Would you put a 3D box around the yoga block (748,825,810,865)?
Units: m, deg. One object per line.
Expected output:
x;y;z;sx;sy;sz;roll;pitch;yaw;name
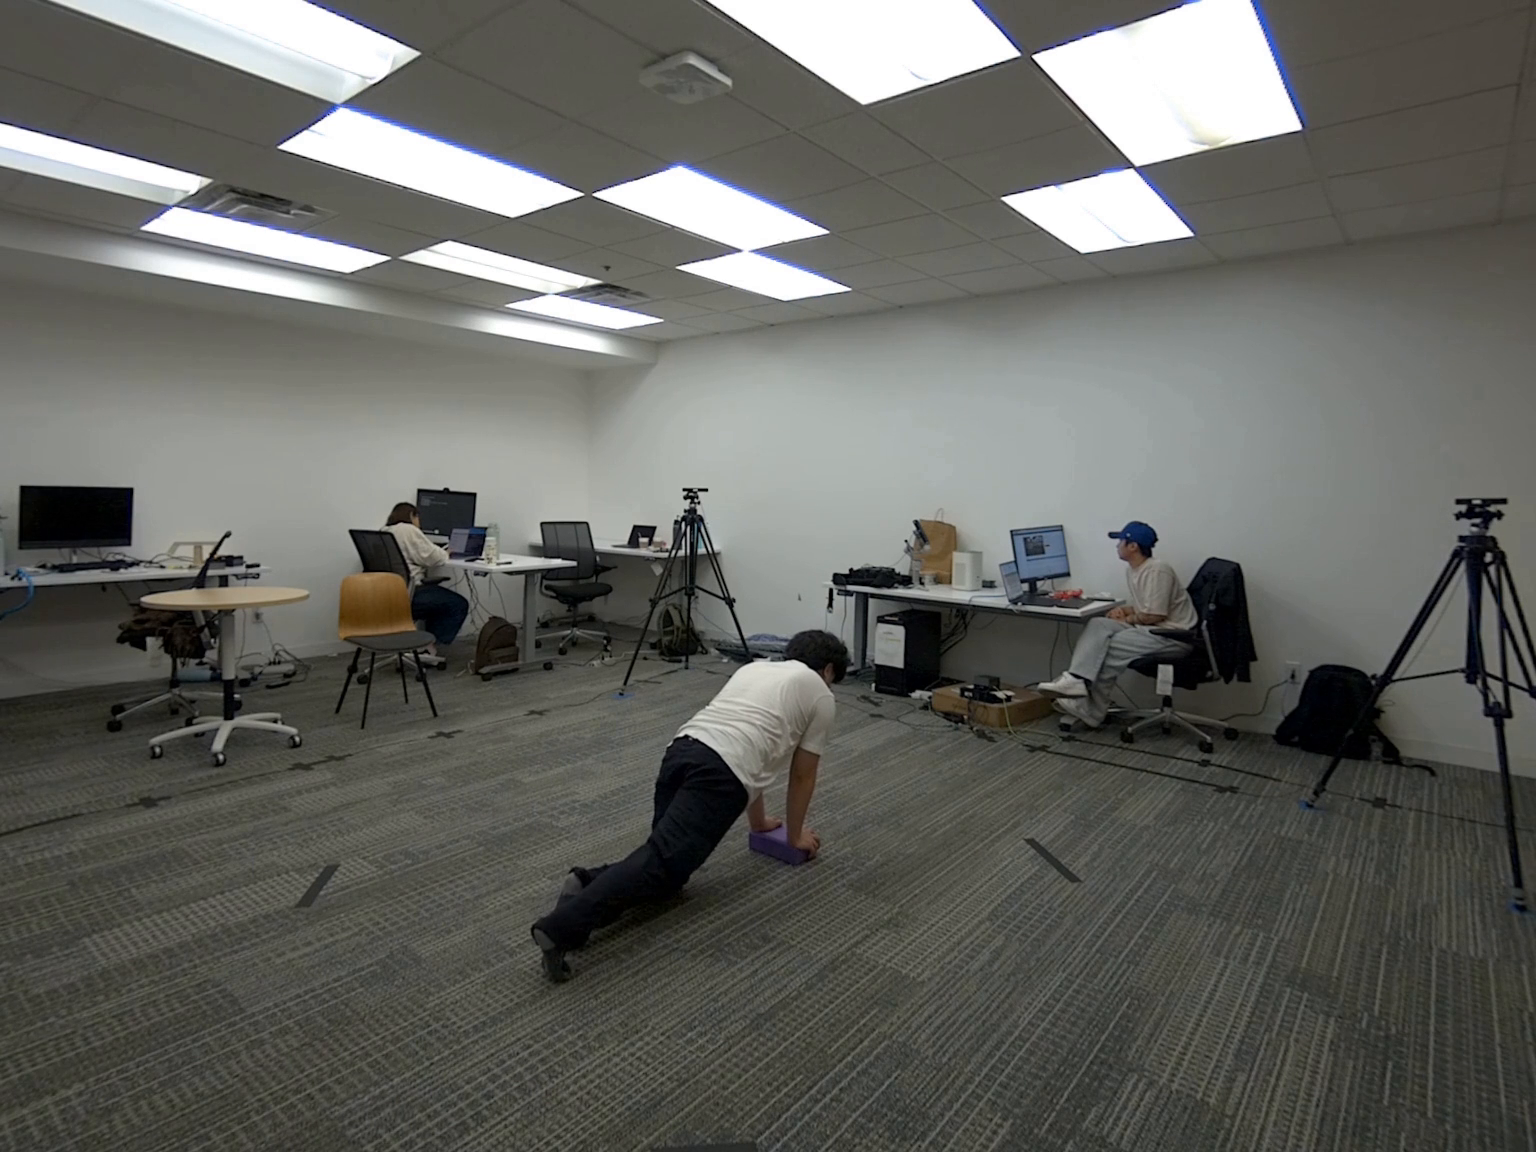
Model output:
0.046;1.024;3.279;0.237;0.076;0.144;5;3;39;yoga block
